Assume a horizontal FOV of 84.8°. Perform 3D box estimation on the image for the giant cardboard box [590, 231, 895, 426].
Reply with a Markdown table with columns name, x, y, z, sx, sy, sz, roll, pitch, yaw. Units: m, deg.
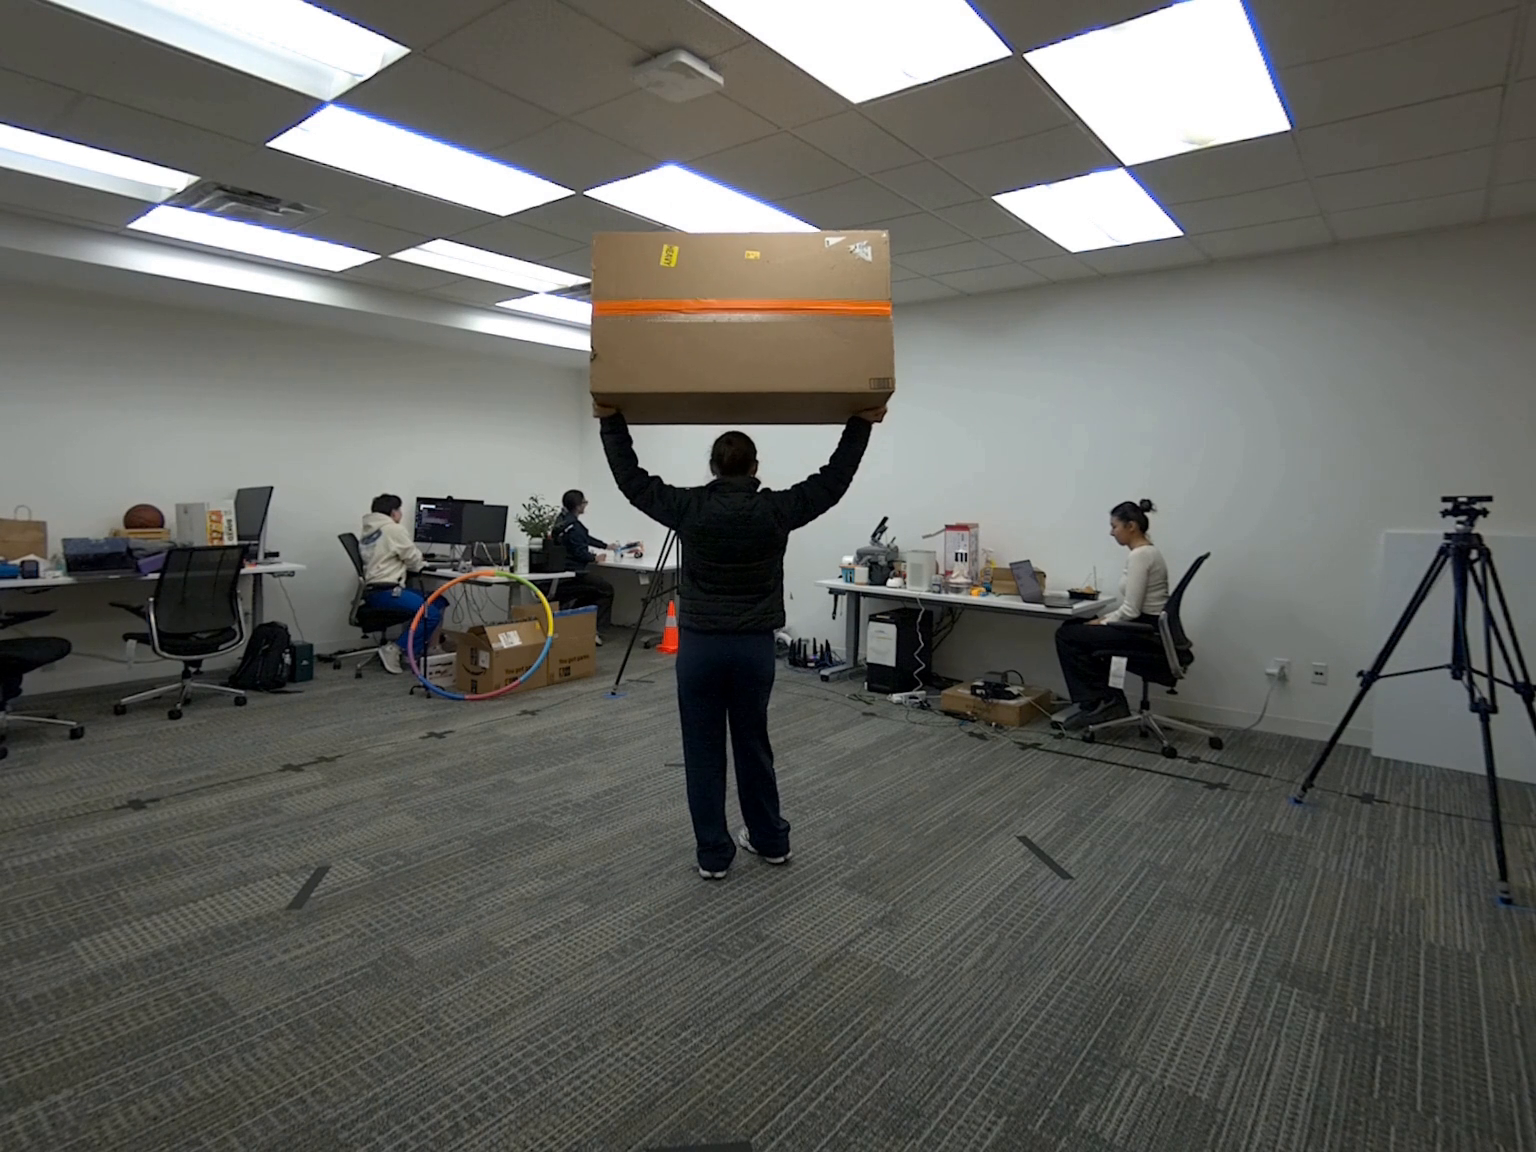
| name | x | y | z | sx | sy | sz | roll | pitch | yaw |
| --- | --- | --- | --- | --- | --- | --- | --- | --- | --- |
| giant cardboard box | -0.090 | -0.878 | 3.086 | 1.027 | 0.588 | 0.444 | -1 | -6 | 0 |
